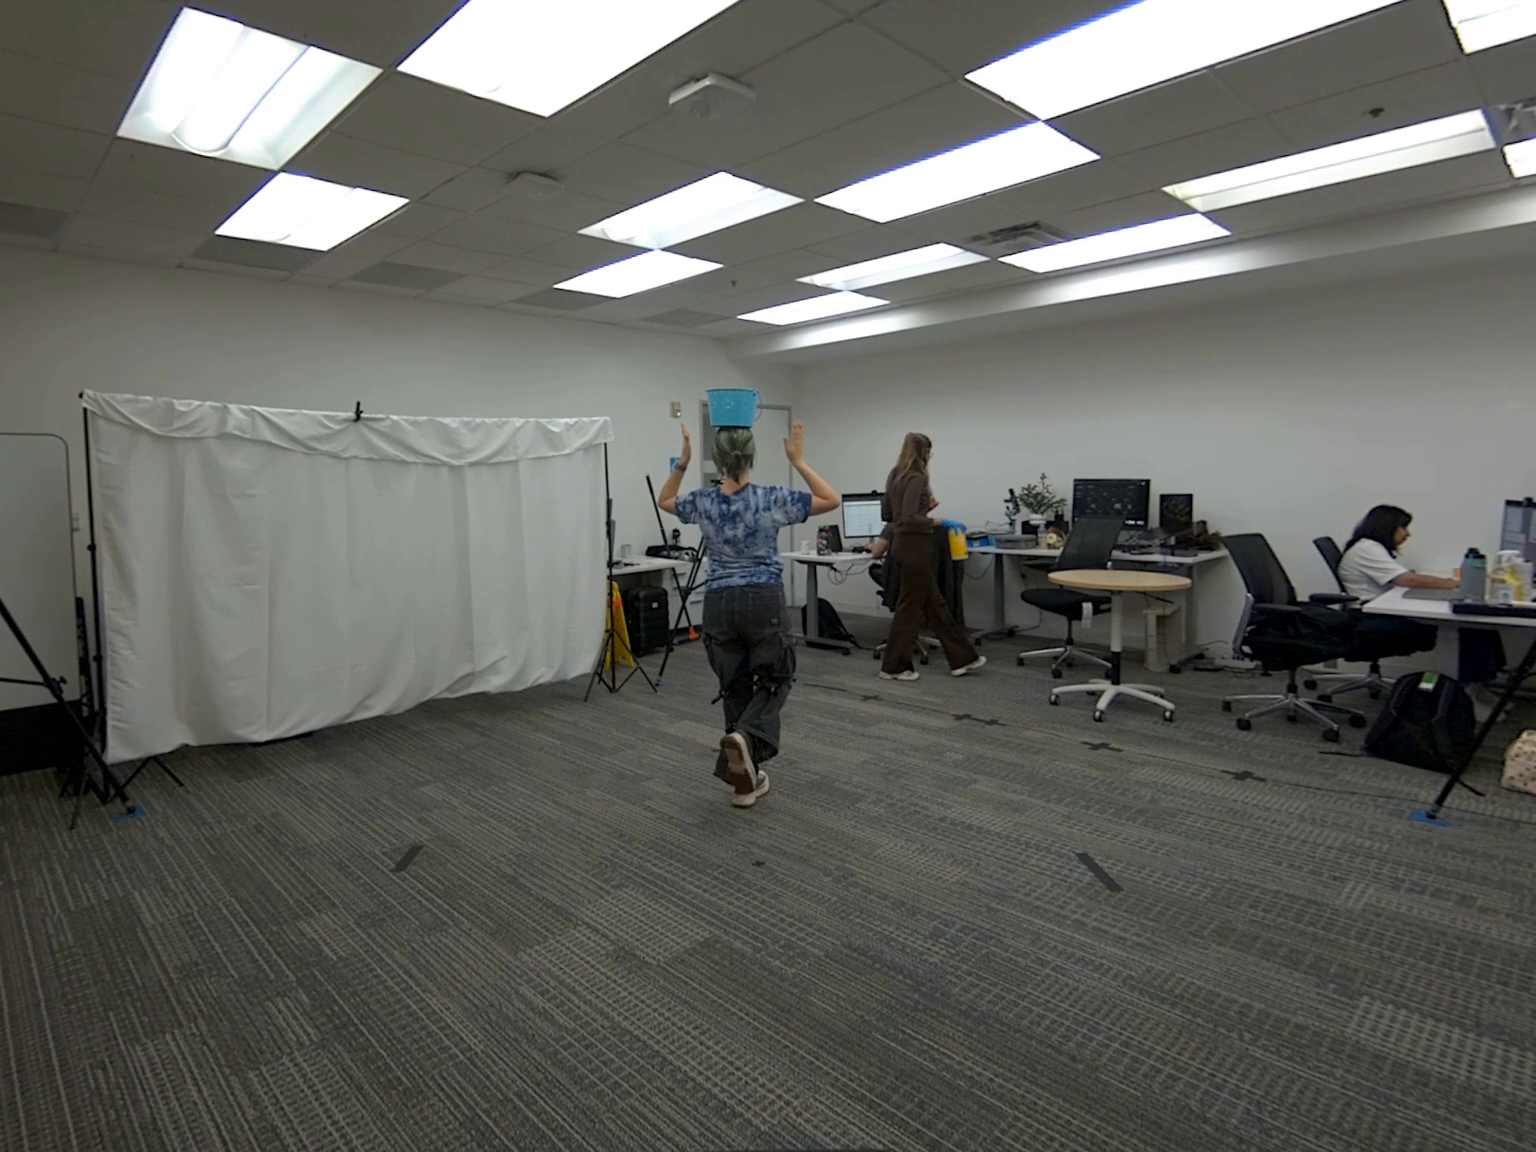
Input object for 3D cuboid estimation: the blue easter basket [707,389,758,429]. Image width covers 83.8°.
[{"bbox_3d":[-0.155,-0.712,3.655,0.243,0.155,0.245,0,7,-2],"label":"blue easter basket"}]
